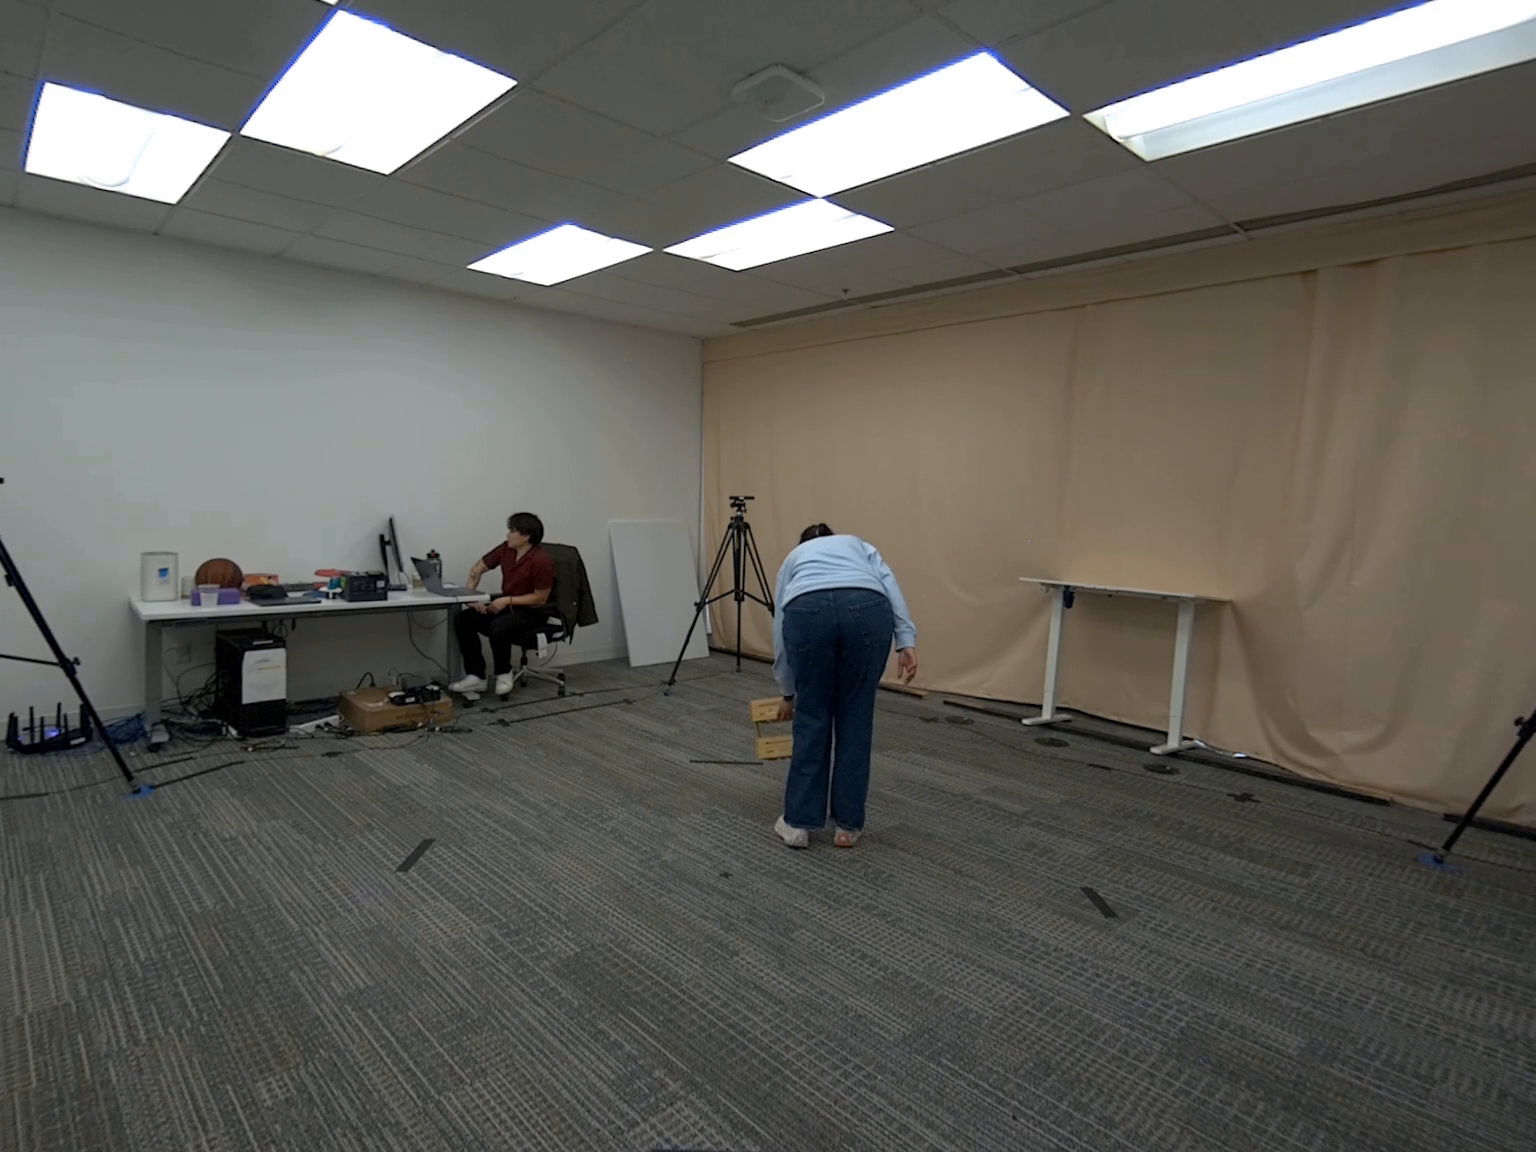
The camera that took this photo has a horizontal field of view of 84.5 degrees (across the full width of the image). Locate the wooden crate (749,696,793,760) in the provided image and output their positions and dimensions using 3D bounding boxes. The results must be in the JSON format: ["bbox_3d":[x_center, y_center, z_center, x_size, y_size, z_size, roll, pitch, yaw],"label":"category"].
[{"bbox_3d":[0.087,0.707,3.976,0.327,0.276,0.297,-9,-11,12],"label":"wooden crate"}]
